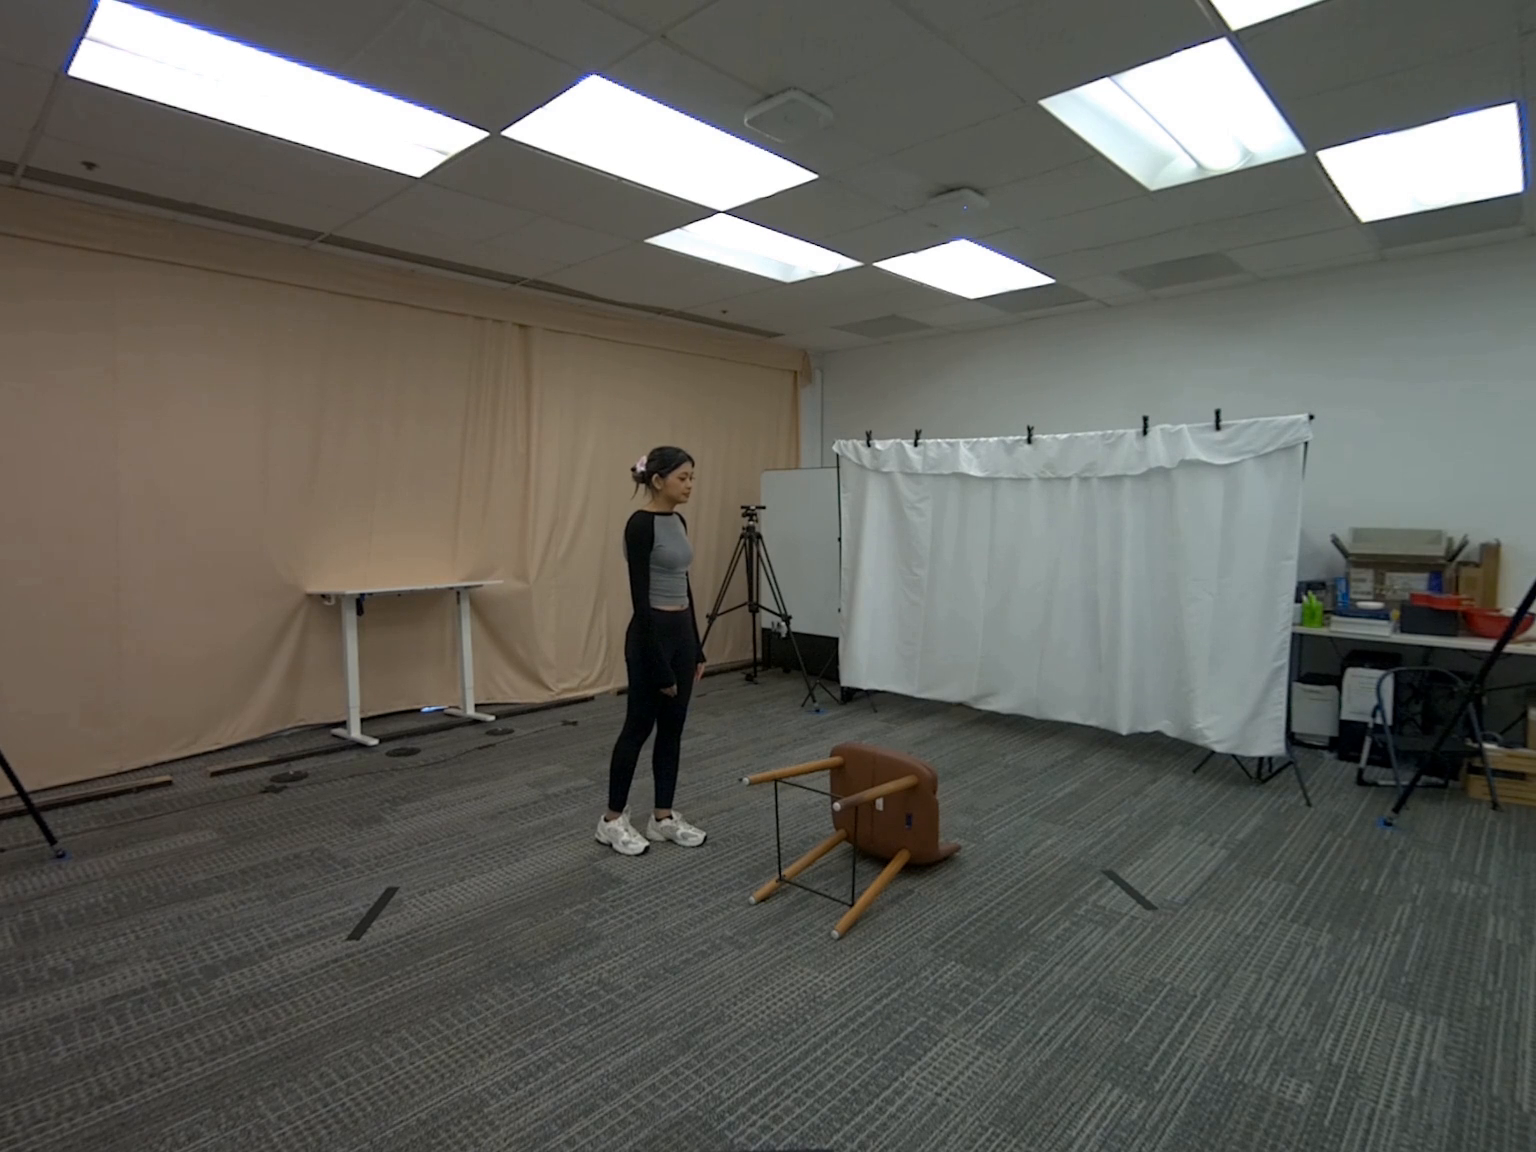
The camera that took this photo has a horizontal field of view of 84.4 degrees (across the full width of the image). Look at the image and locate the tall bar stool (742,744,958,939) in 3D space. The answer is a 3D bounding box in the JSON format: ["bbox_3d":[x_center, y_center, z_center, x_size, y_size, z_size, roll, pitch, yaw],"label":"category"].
[{"bbox_3d":[0.353,0.901,3.125,0.471,0.467,0.863,3,5,41],"label":"tall bar stool"}]
